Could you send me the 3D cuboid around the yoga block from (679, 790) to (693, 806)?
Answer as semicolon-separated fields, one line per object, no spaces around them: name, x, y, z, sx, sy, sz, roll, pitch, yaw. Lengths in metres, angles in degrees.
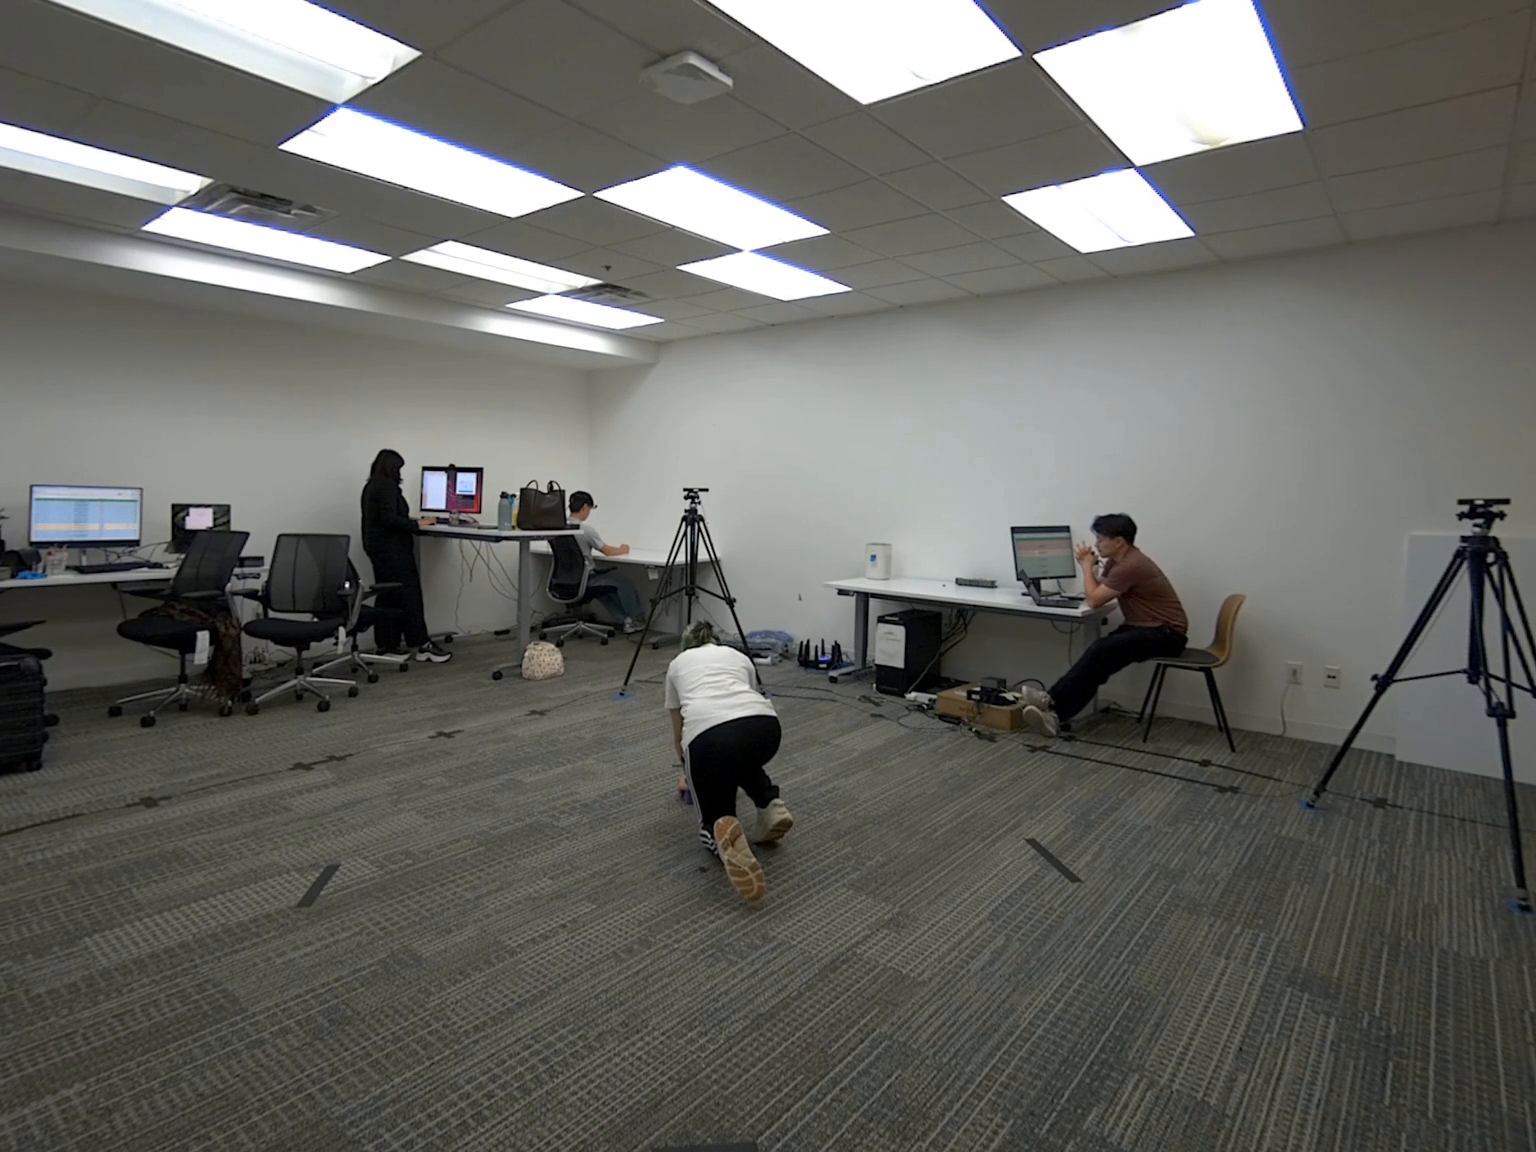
yoga block;-0.279;0.956;3.836;0.226;0.076;0.152;-3;5;-16
